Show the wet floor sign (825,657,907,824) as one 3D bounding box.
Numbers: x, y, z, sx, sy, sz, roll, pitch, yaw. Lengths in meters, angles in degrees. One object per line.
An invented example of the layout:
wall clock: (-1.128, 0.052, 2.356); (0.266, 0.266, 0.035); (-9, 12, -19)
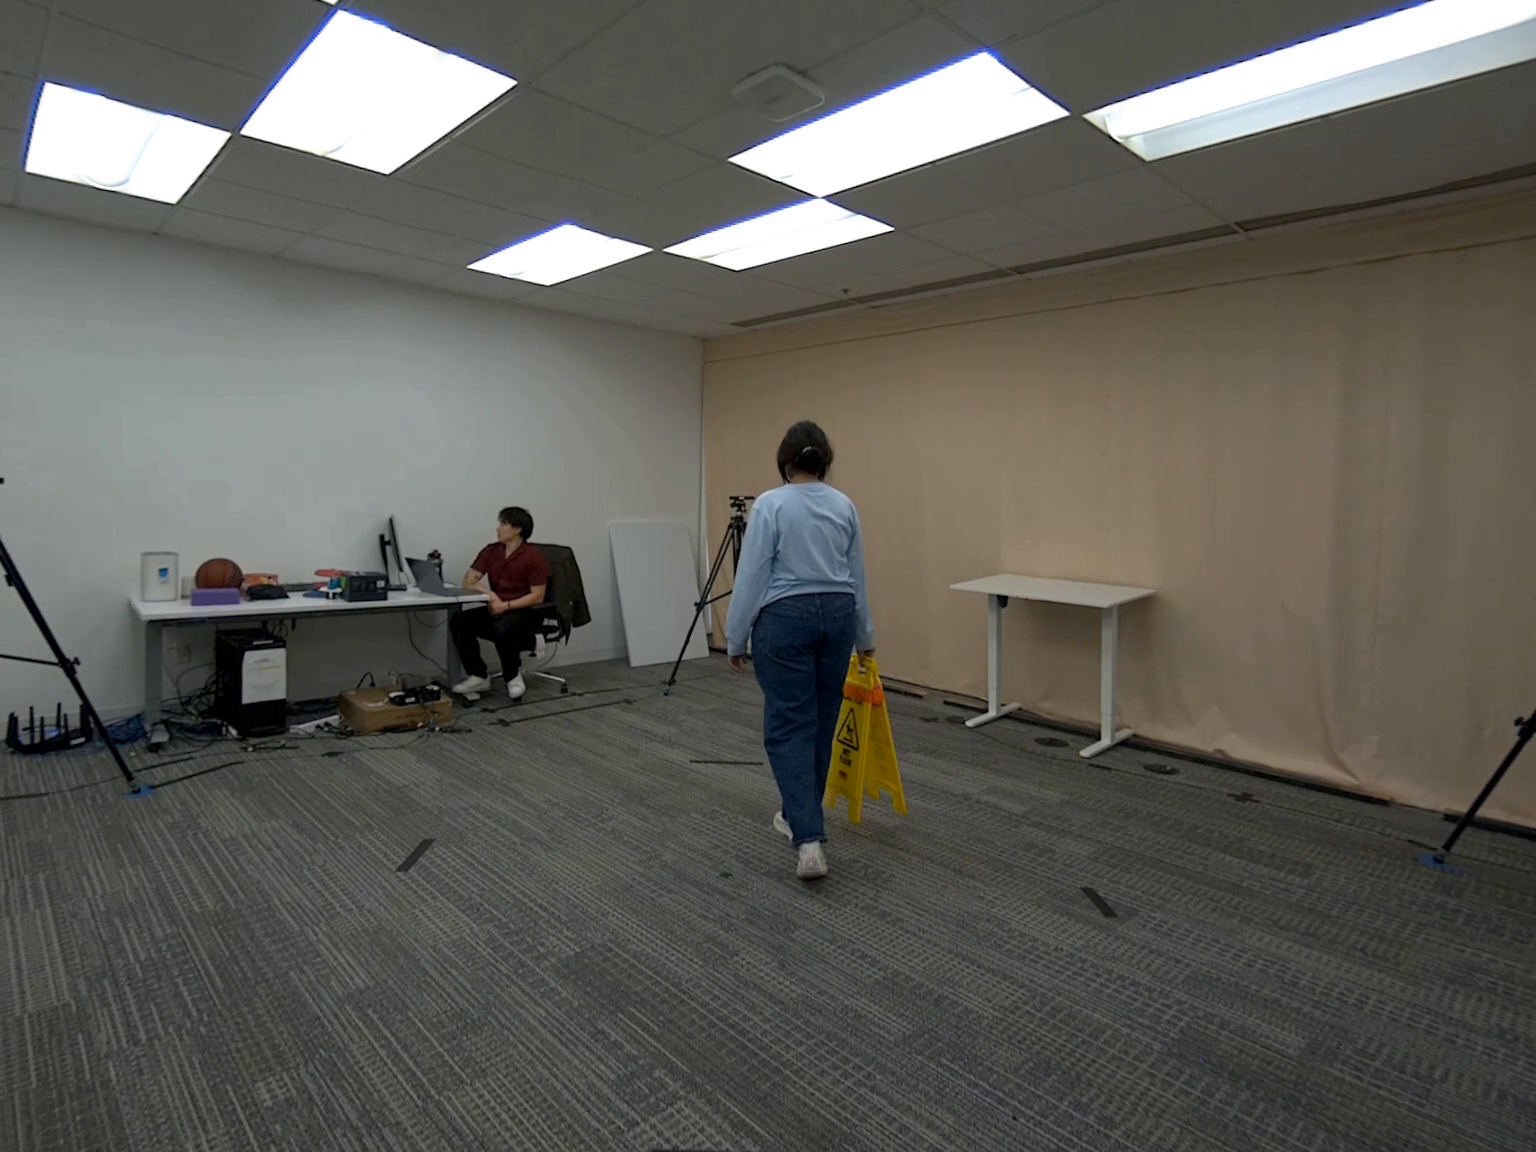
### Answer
wet floor sign: (0.395, 0.664, 3.549); (0.285, 0.645, 0.287); (-2, 3, -24)
